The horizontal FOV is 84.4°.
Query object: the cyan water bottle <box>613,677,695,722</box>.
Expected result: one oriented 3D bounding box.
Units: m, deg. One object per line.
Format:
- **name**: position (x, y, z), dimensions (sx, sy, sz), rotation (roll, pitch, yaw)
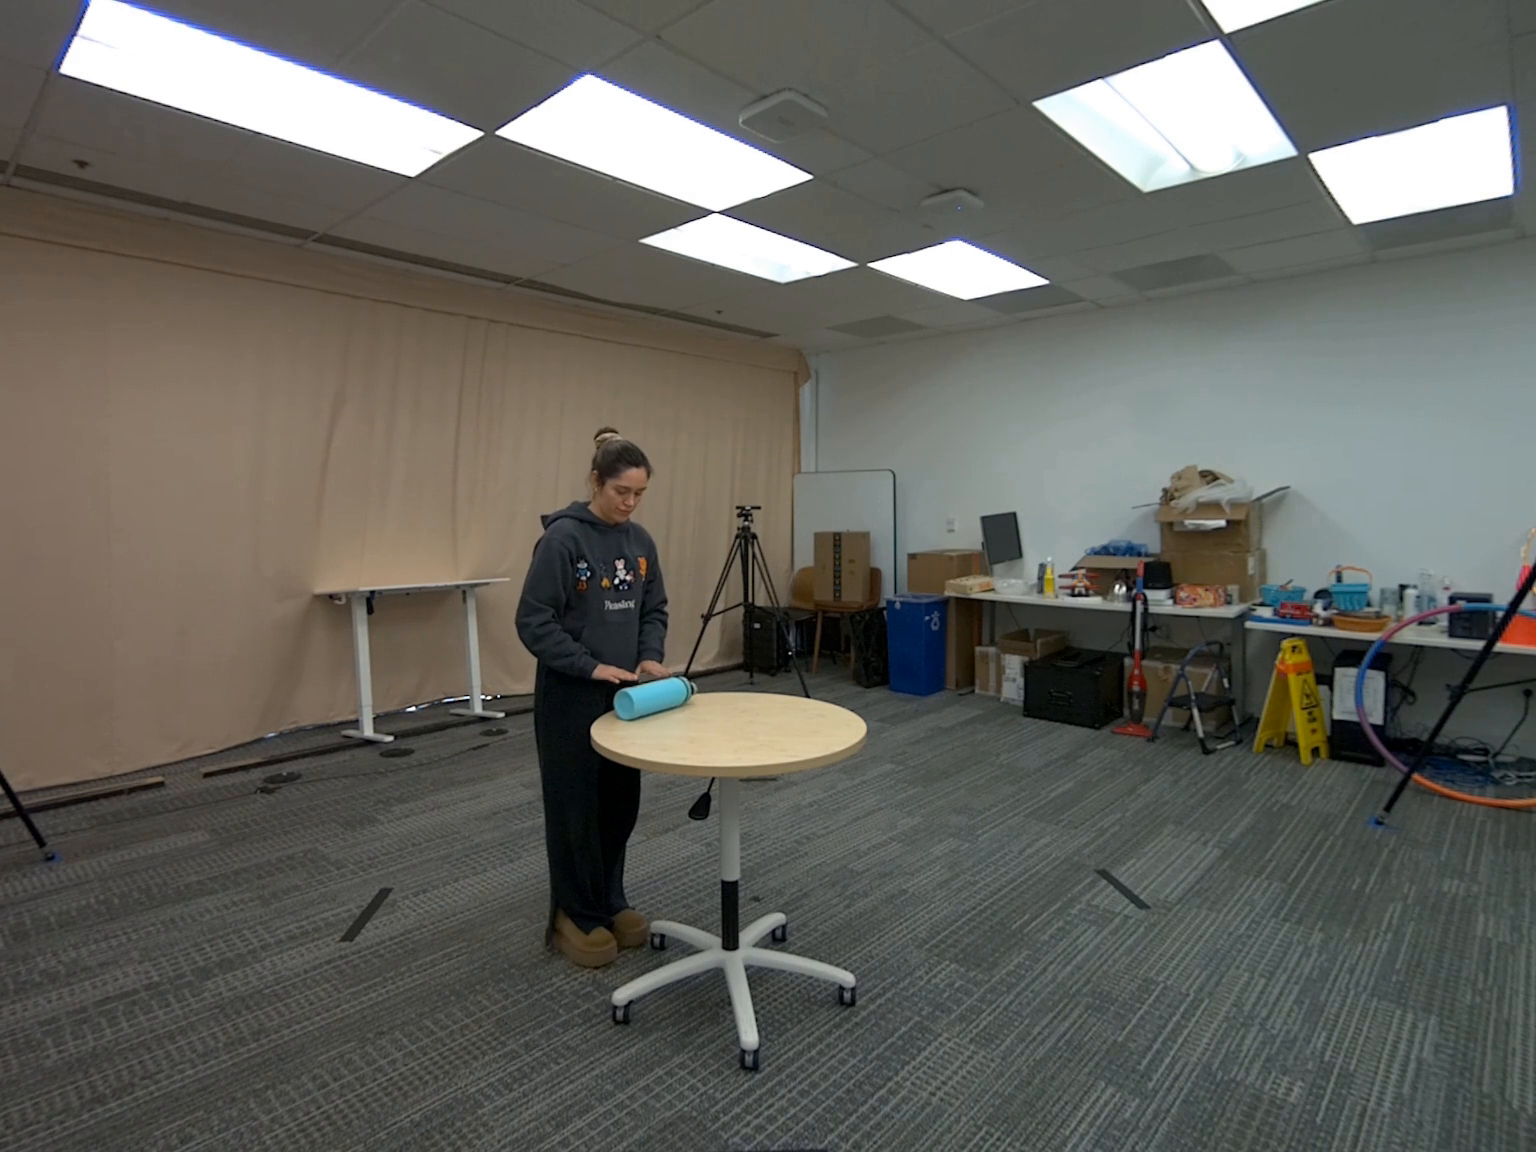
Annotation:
- **cyan water bottle**: position (-0.315, 0.360, 2.504), dimensions (0.095, 0.092, 0.275), rotation (3, 4, 38)
